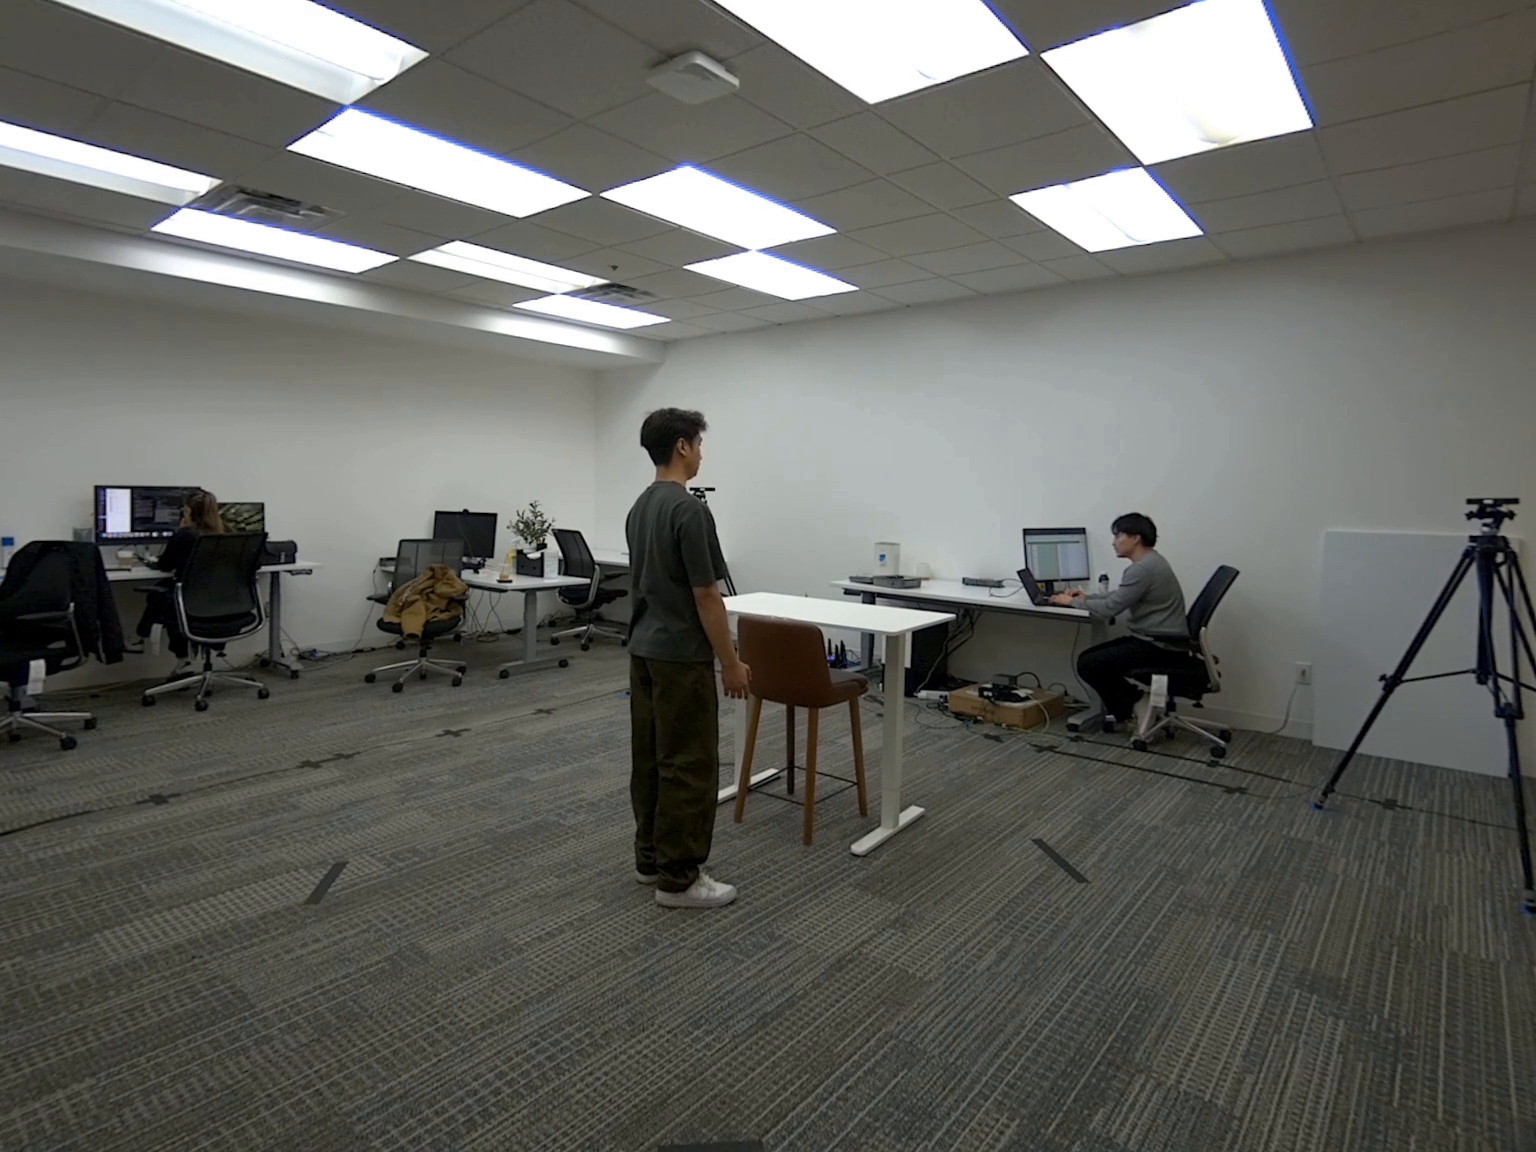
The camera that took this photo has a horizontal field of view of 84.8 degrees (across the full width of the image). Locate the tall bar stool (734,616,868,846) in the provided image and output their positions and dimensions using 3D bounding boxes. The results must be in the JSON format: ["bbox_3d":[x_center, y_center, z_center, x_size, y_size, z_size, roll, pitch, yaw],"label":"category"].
[{"bbox_3d":[0.129,0.591,3.586,0.471,0.886,0.454,3,6,37],"label":"tall bar stool"}]
